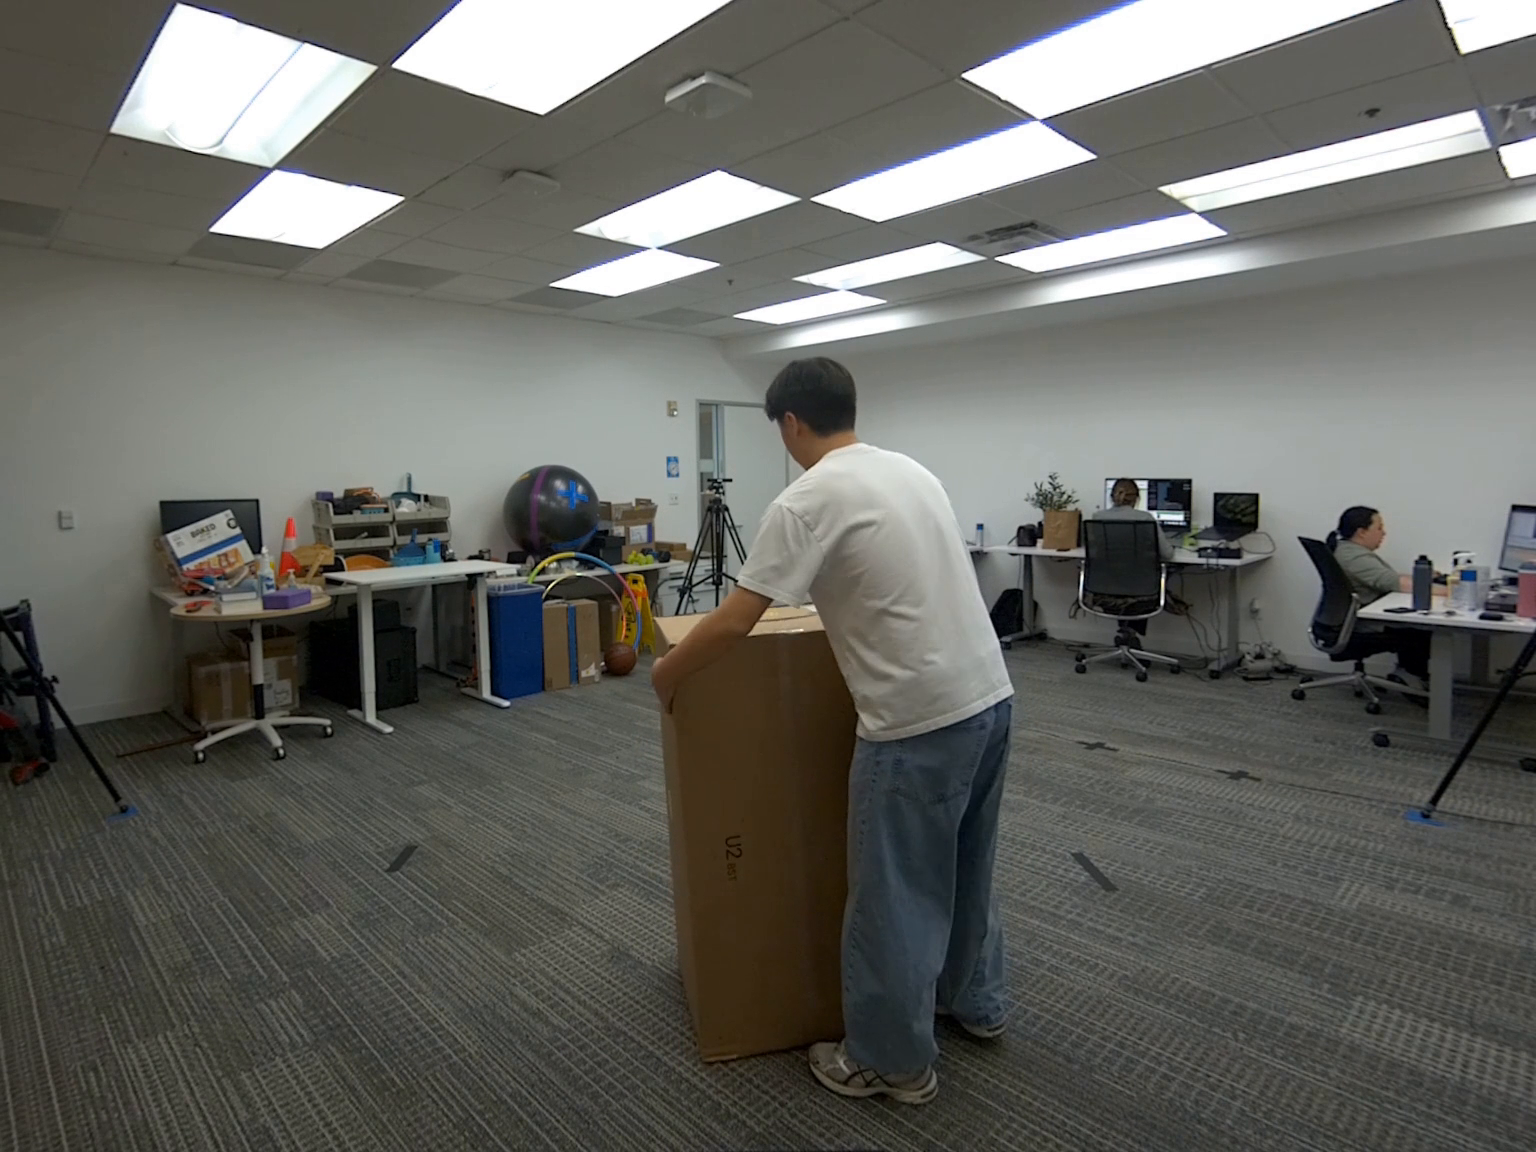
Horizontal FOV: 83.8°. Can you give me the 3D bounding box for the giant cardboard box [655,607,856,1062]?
[{"bbox_3d":[0.037,0.618,2.270,0.571,1.022,0.433,-5,4,-14],"label":"giant cardboard box"}]
